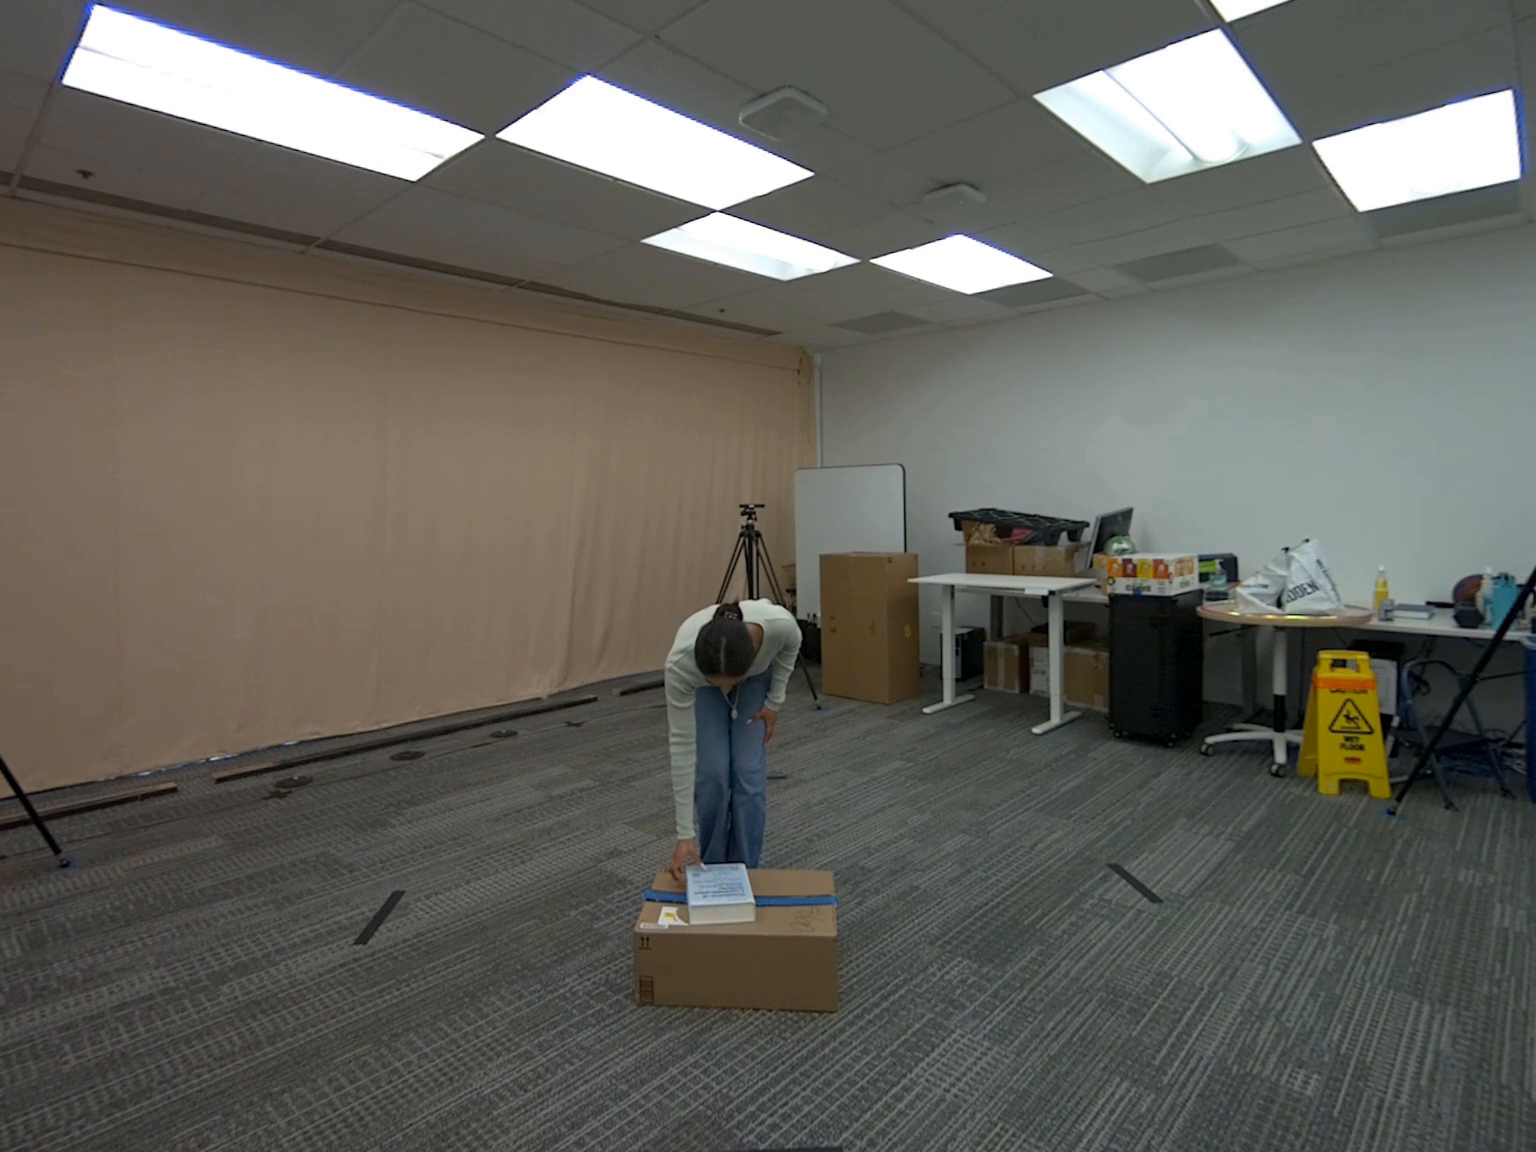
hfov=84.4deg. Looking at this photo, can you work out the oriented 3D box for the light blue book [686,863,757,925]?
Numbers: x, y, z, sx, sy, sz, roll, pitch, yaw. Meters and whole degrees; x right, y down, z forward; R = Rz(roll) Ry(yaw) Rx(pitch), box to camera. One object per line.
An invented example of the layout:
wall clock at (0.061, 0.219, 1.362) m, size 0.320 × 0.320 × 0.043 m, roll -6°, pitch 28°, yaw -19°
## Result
light blue book at (-0.141, 0.938, 2.514) m, size 0.190 × 0.059 × 0.263 m, roll -1°, pitch 5°, yaw -6°
